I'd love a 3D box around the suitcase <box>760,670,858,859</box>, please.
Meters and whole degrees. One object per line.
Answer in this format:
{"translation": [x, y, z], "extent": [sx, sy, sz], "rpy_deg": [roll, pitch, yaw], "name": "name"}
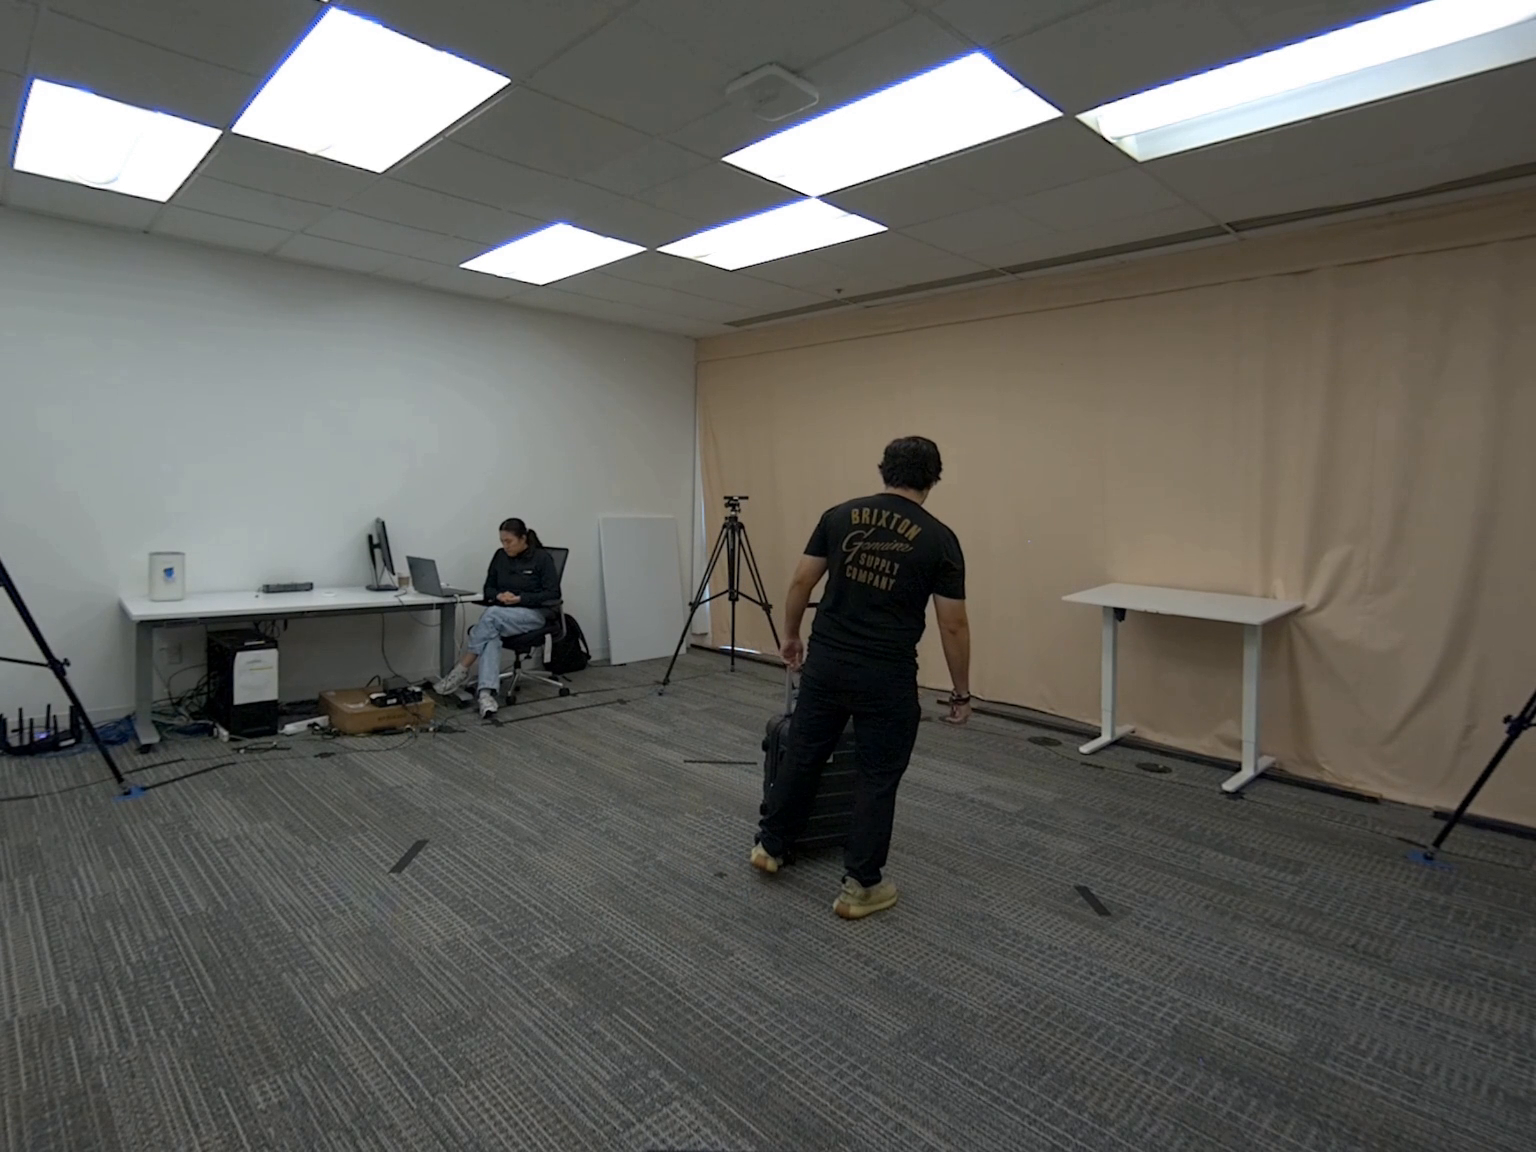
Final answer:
{"translation": [0.178, 0.613, 3.319], "extent": [0.378, 0.975, 0.262], "rpy_deg": [0, 6, -20], "name": "suitcase"}
